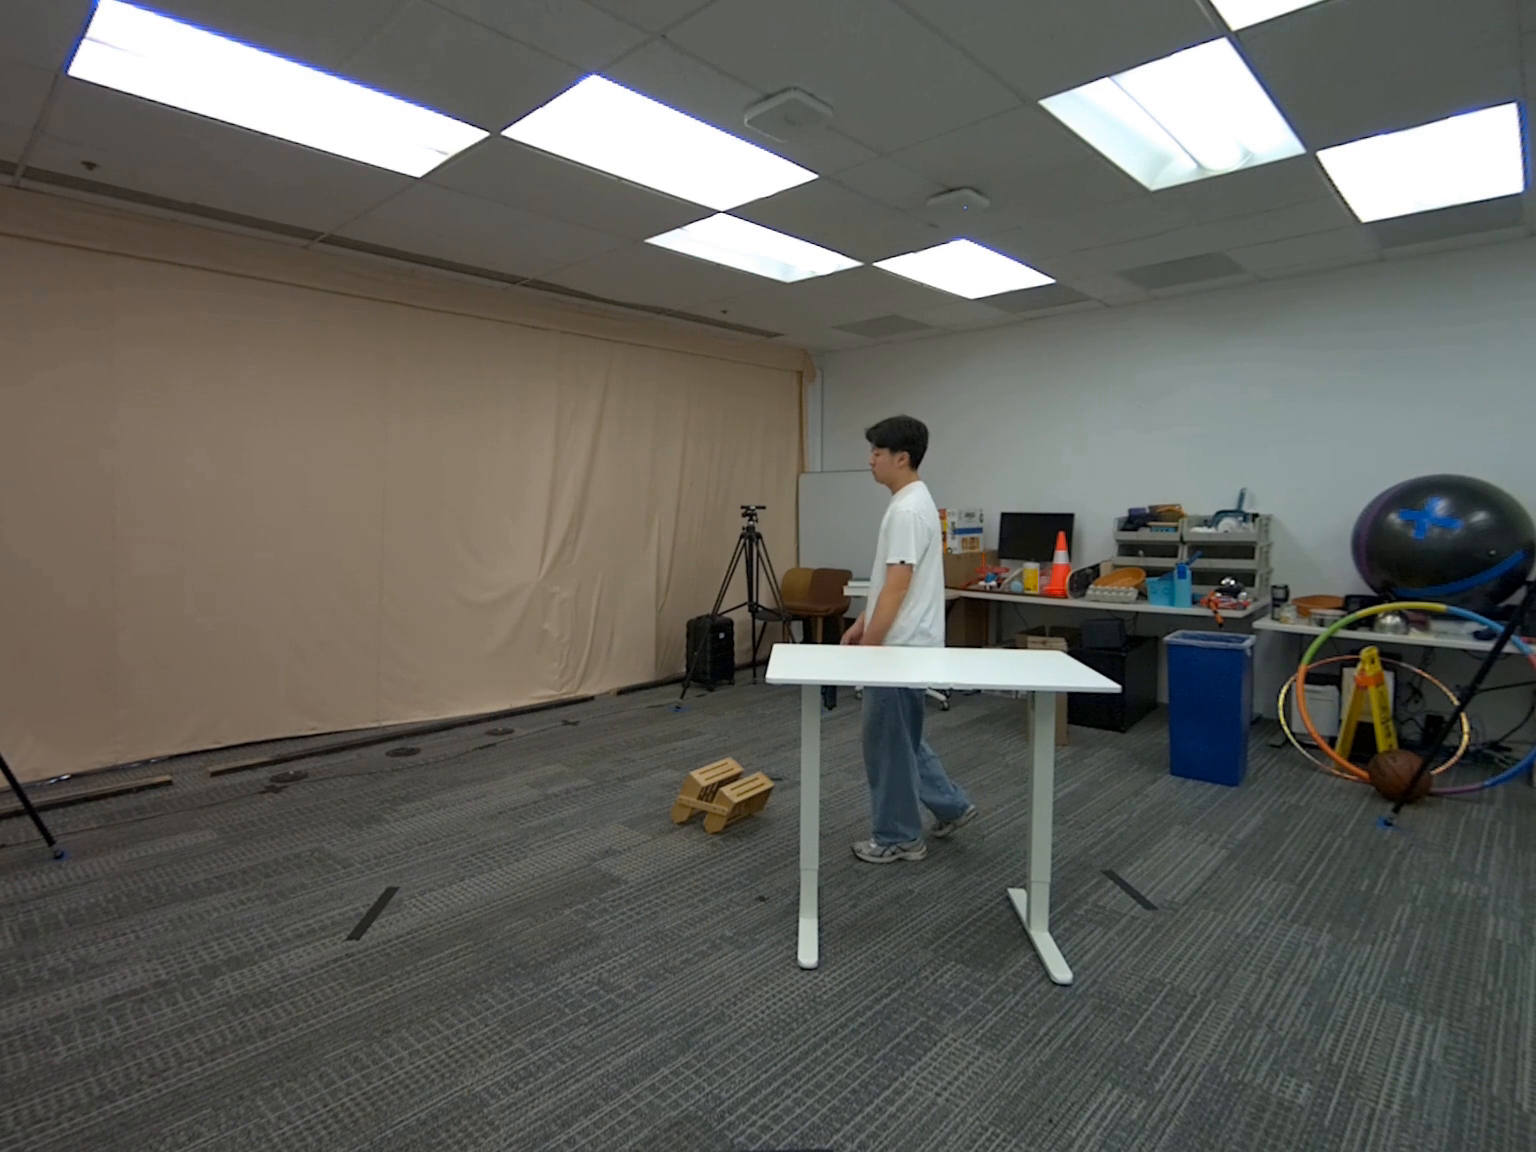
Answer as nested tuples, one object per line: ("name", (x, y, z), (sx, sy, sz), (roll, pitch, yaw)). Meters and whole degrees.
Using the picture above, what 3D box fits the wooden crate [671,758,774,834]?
("wooden crate", (-0.199, 0.996, 3.720), (0.282, 0.301, 0.315), (35, 23, 30))
